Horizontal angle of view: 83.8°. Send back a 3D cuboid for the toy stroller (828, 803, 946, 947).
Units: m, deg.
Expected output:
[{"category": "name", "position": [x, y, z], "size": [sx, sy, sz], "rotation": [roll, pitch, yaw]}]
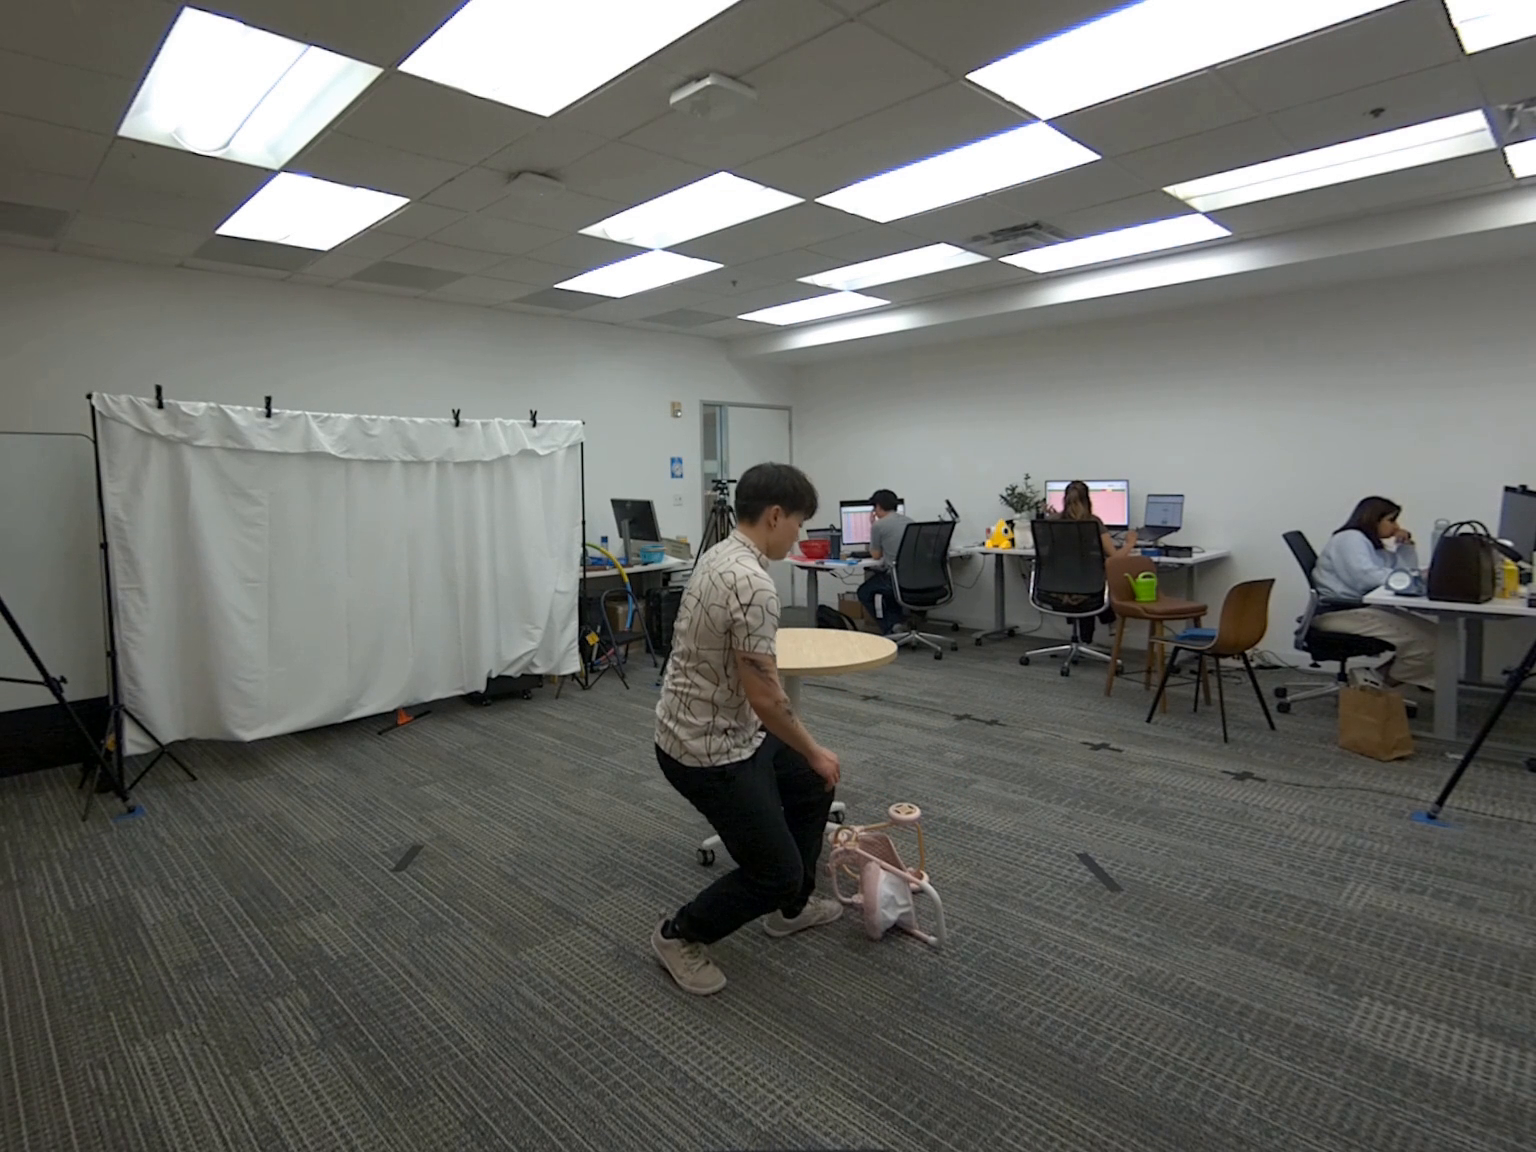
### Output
[{"category": "toy stroller", "position": [0.348, 0.951, 2.754], "size": [0.343, 0.278, 0.537], "rotation": [-3, 12, 6]}]
